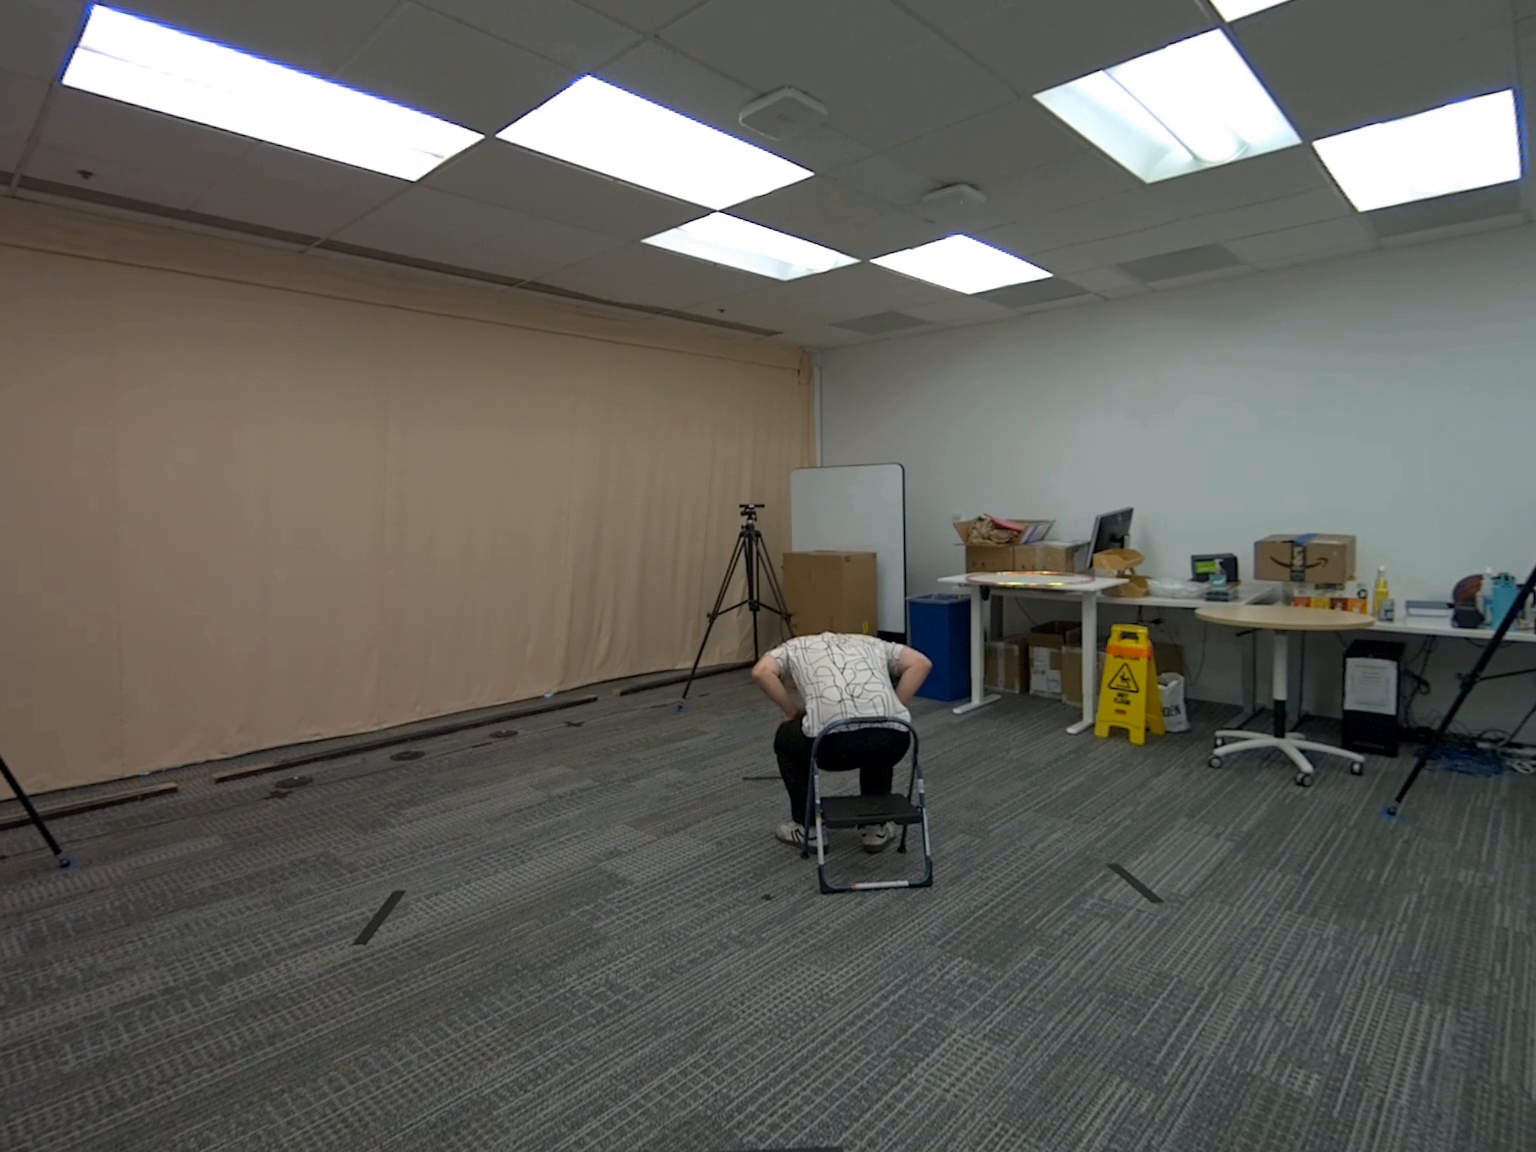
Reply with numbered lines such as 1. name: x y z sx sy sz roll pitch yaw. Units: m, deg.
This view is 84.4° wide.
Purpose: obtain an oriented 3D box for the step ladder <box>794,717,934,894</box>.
1. step ladder: 0.359 0.820 3.164 0.427 0.605 0.353 -1 3 -8
